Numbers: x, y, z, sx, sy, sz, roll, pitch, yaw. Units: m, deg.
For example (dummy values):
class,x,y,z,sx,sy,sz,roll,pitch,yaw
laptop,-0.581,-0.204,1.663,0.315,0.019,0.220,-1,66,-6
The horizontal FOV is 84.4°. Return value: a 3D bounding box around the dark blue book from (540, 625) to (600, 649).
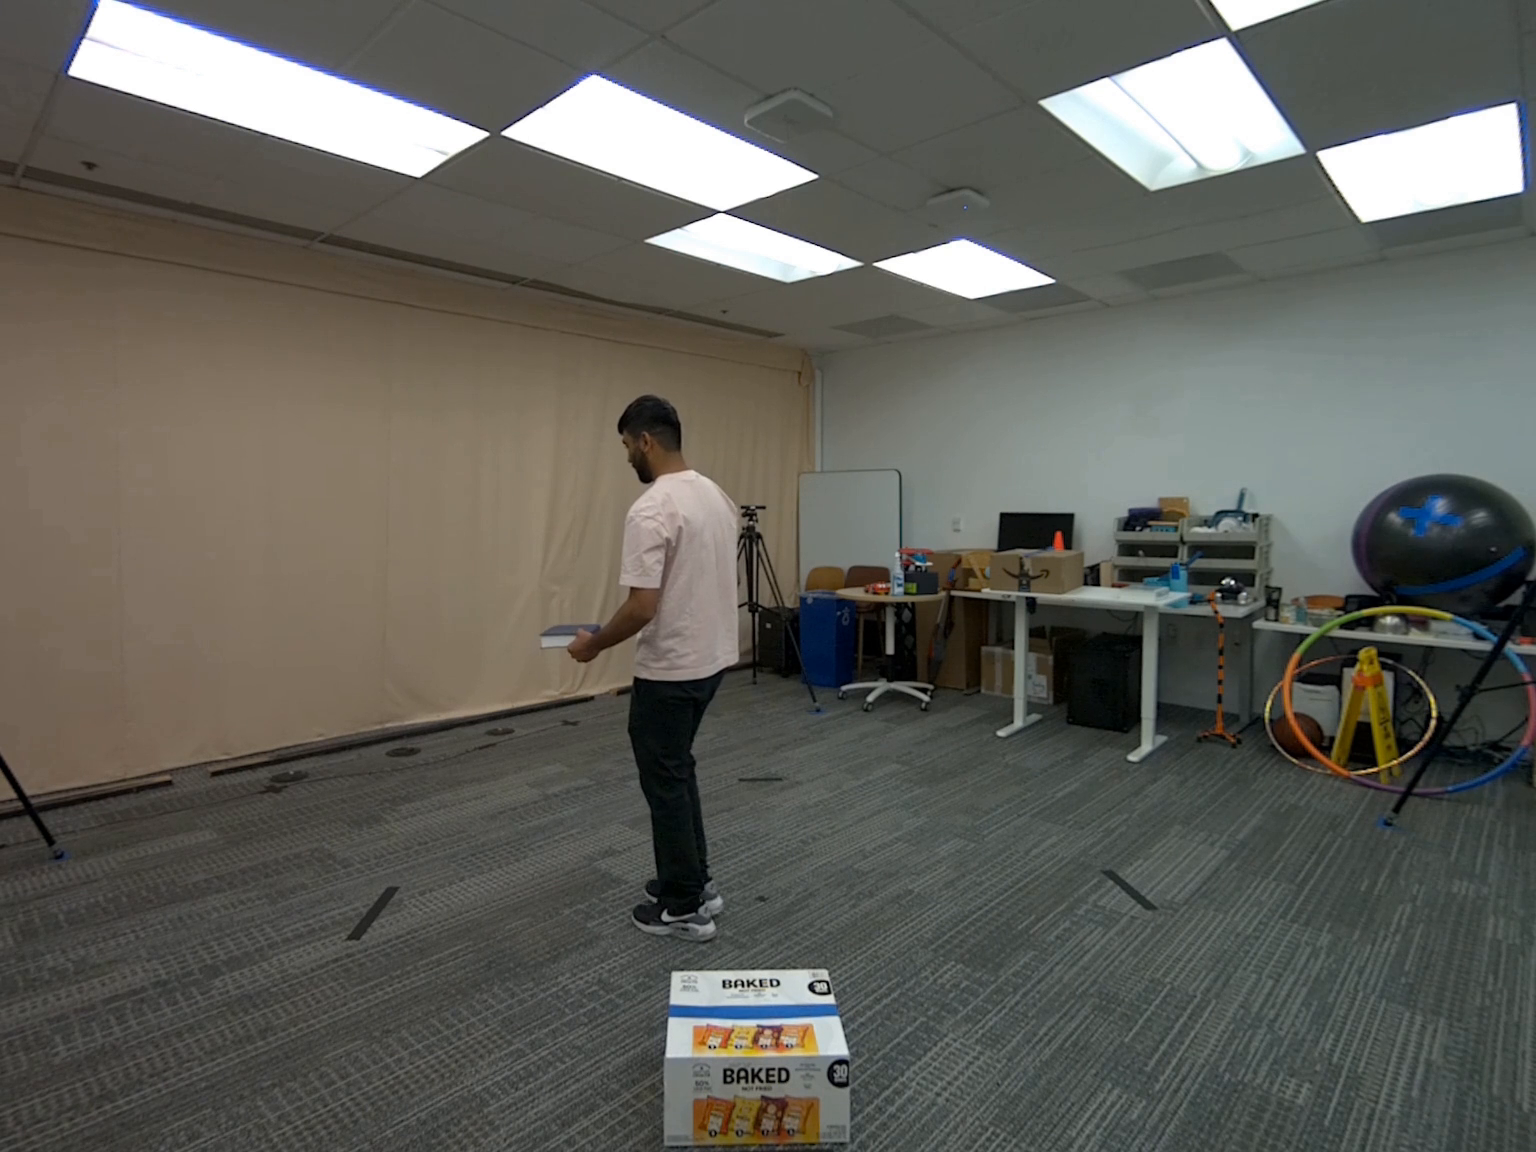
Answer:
class,x,y,z,sx,sy,sz,roll,pitch,yaw
dark blue book,-0.657,0.204,2.837,0.164,0.045,0.245,-4,5,1
